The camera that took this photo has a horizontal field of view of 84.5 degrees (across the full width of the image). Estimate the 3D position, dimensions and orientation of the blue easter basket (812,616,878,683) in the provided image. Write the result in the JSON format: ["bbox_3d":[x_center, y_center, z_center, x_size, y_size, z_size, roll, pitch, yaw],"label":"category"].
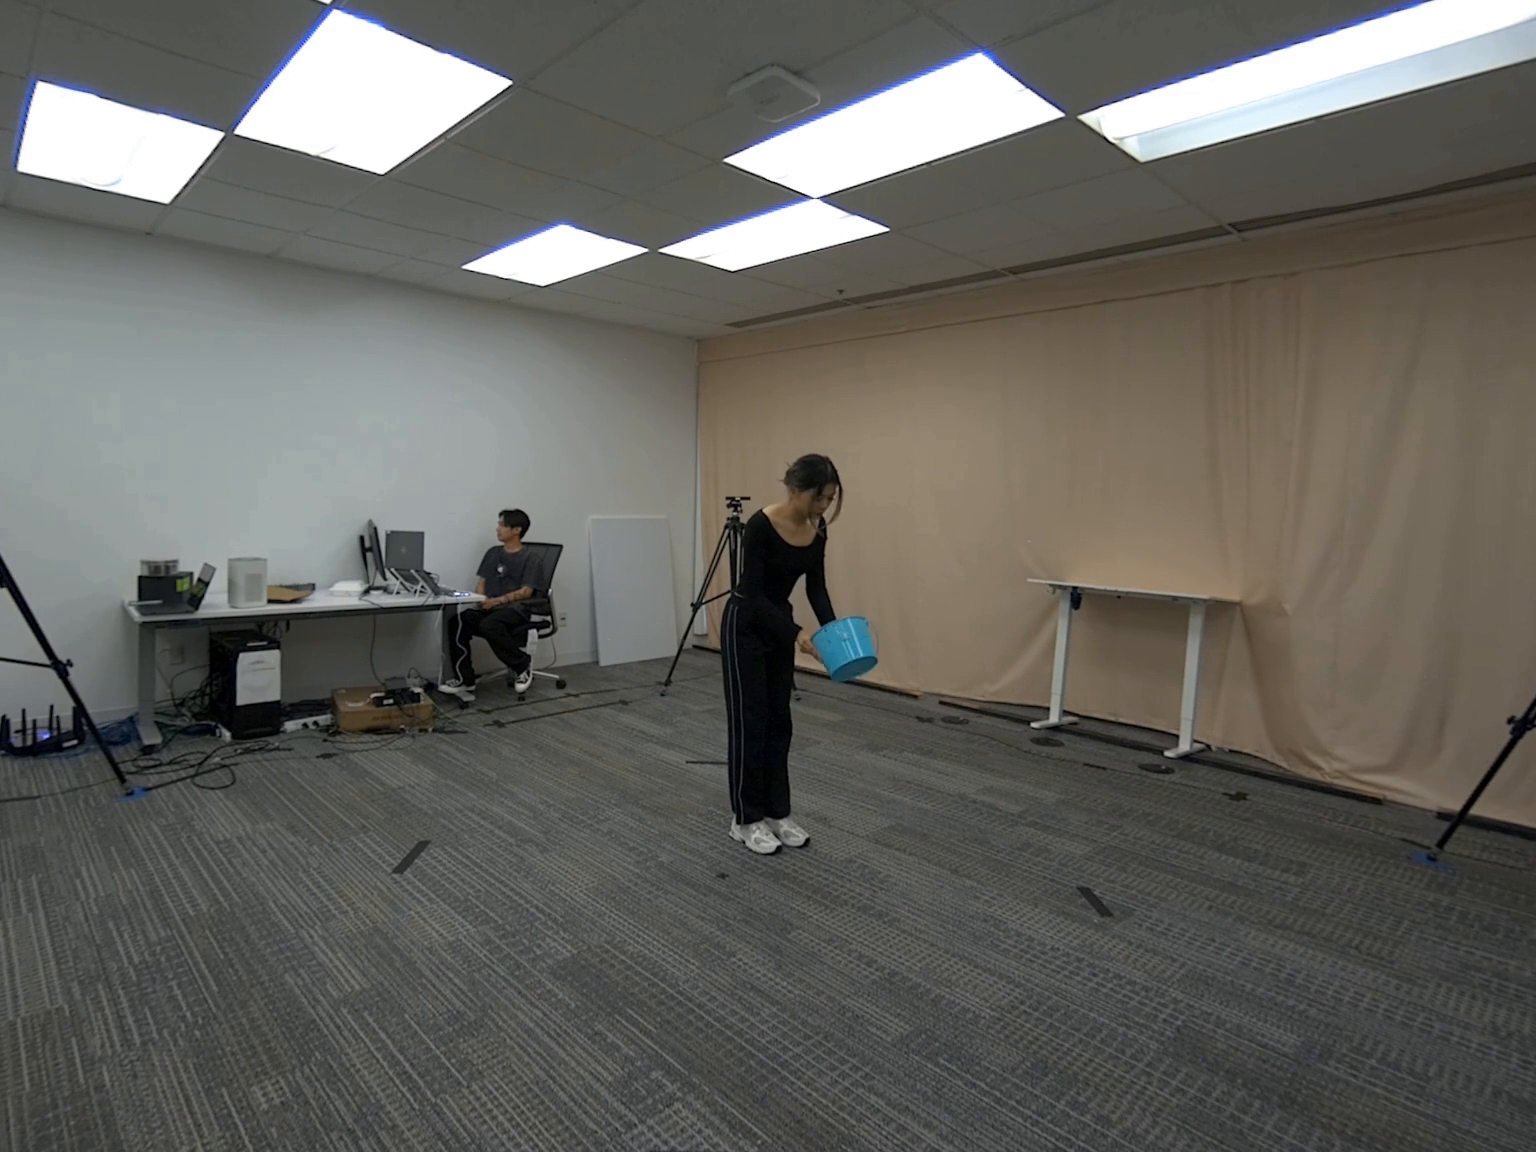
[{"bbox_3d":[0.281,0.278,3.063,0.242,0.160,0.239,-14,-33,-11],"label":"blue easter basket"}]
